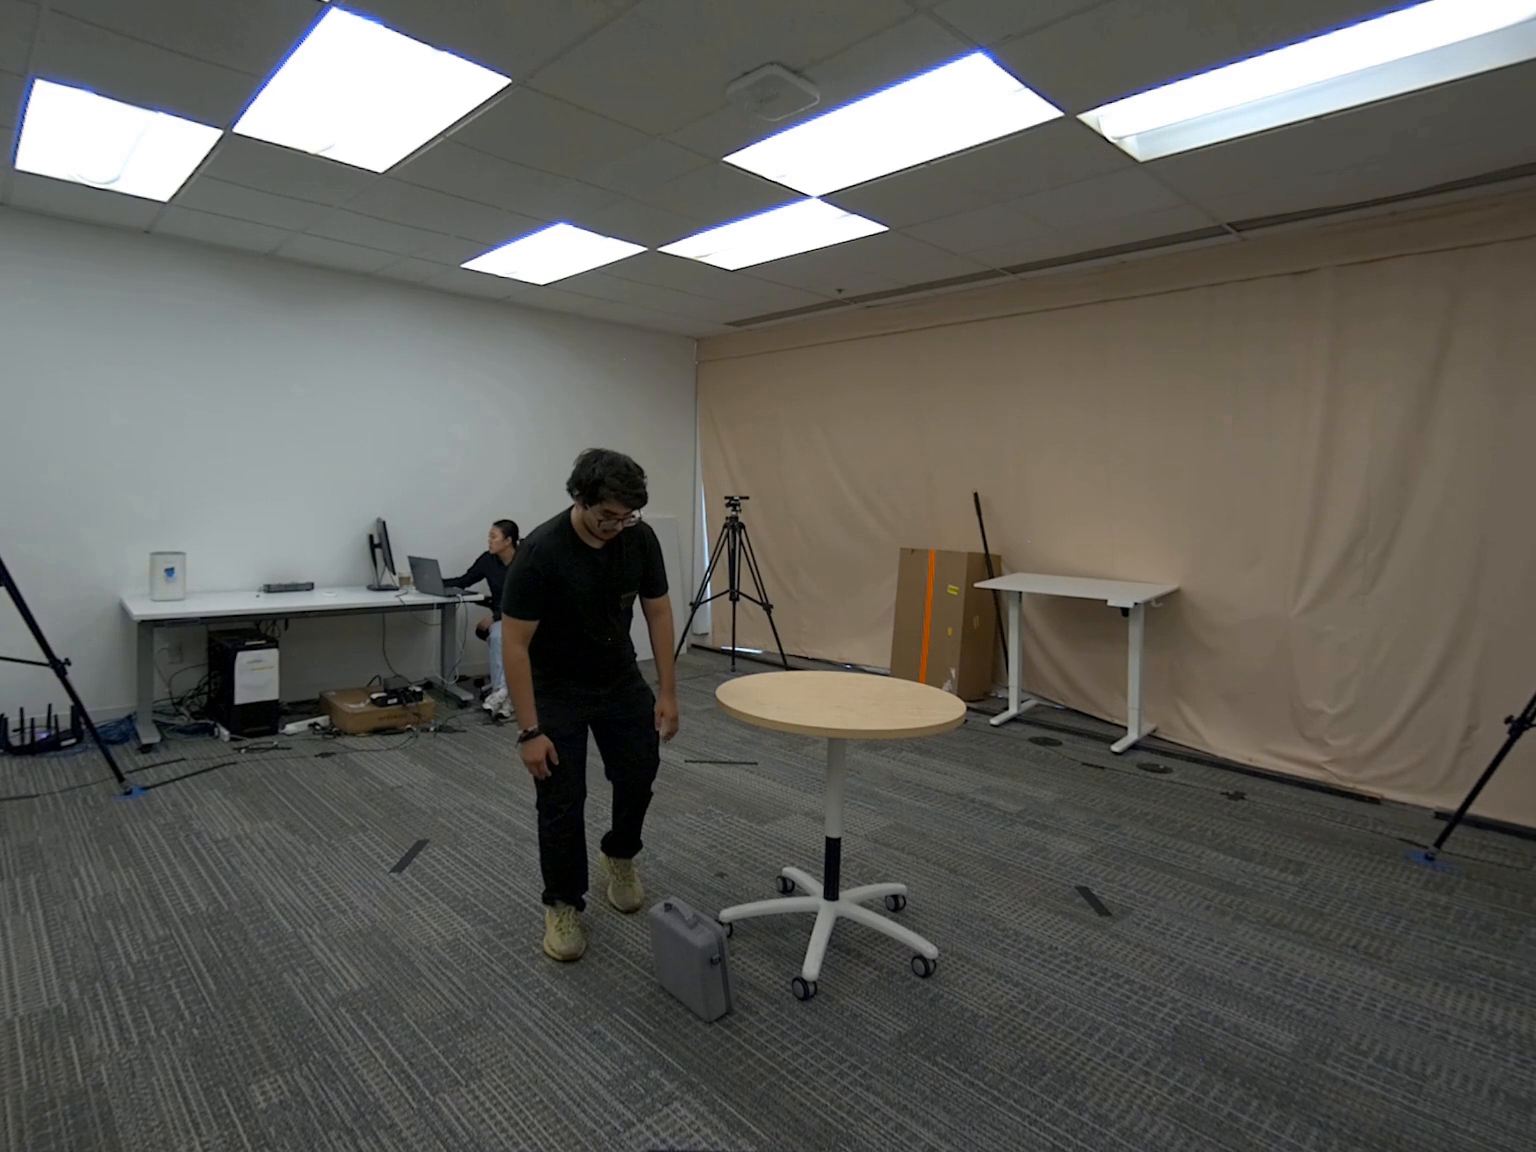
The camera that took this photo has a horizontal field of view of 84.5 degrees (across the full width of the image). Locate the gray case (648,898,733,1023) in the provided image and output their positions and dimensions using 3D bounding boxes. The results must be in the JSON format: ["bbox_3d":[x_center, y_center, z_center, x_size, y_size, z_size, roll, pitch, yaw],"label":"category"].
[{"bbox_3d":[-0.216,1.045,2.305,0.102,0.258,0.264,-14,15,-39],"label":"gray case"}]
